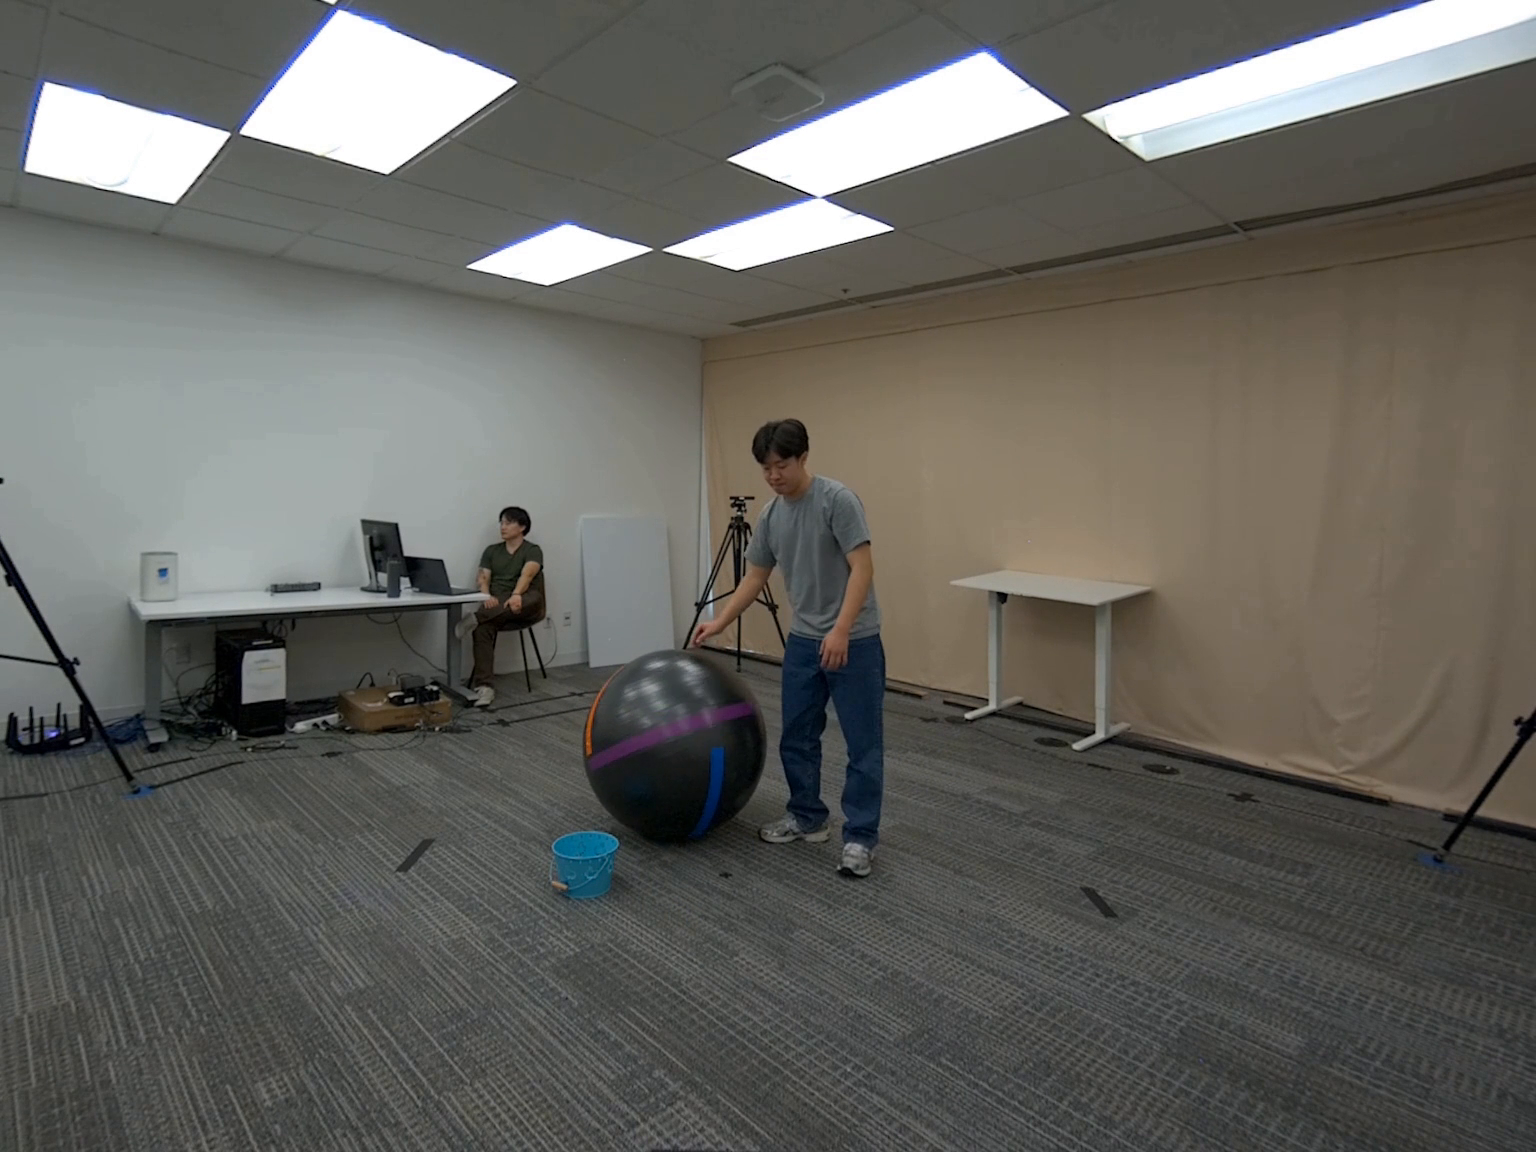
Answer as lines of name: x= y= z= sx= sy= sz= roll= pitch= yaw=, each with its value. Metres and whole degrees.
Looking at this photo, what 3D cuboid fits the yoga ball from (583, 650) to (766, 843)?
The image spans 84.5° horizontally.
yoga ball: x=-0.391 y=0.694 z=3.484 sx=0.757 sy=0.756 sz=0.761 roll=1 pitch=4 yaw=-1
